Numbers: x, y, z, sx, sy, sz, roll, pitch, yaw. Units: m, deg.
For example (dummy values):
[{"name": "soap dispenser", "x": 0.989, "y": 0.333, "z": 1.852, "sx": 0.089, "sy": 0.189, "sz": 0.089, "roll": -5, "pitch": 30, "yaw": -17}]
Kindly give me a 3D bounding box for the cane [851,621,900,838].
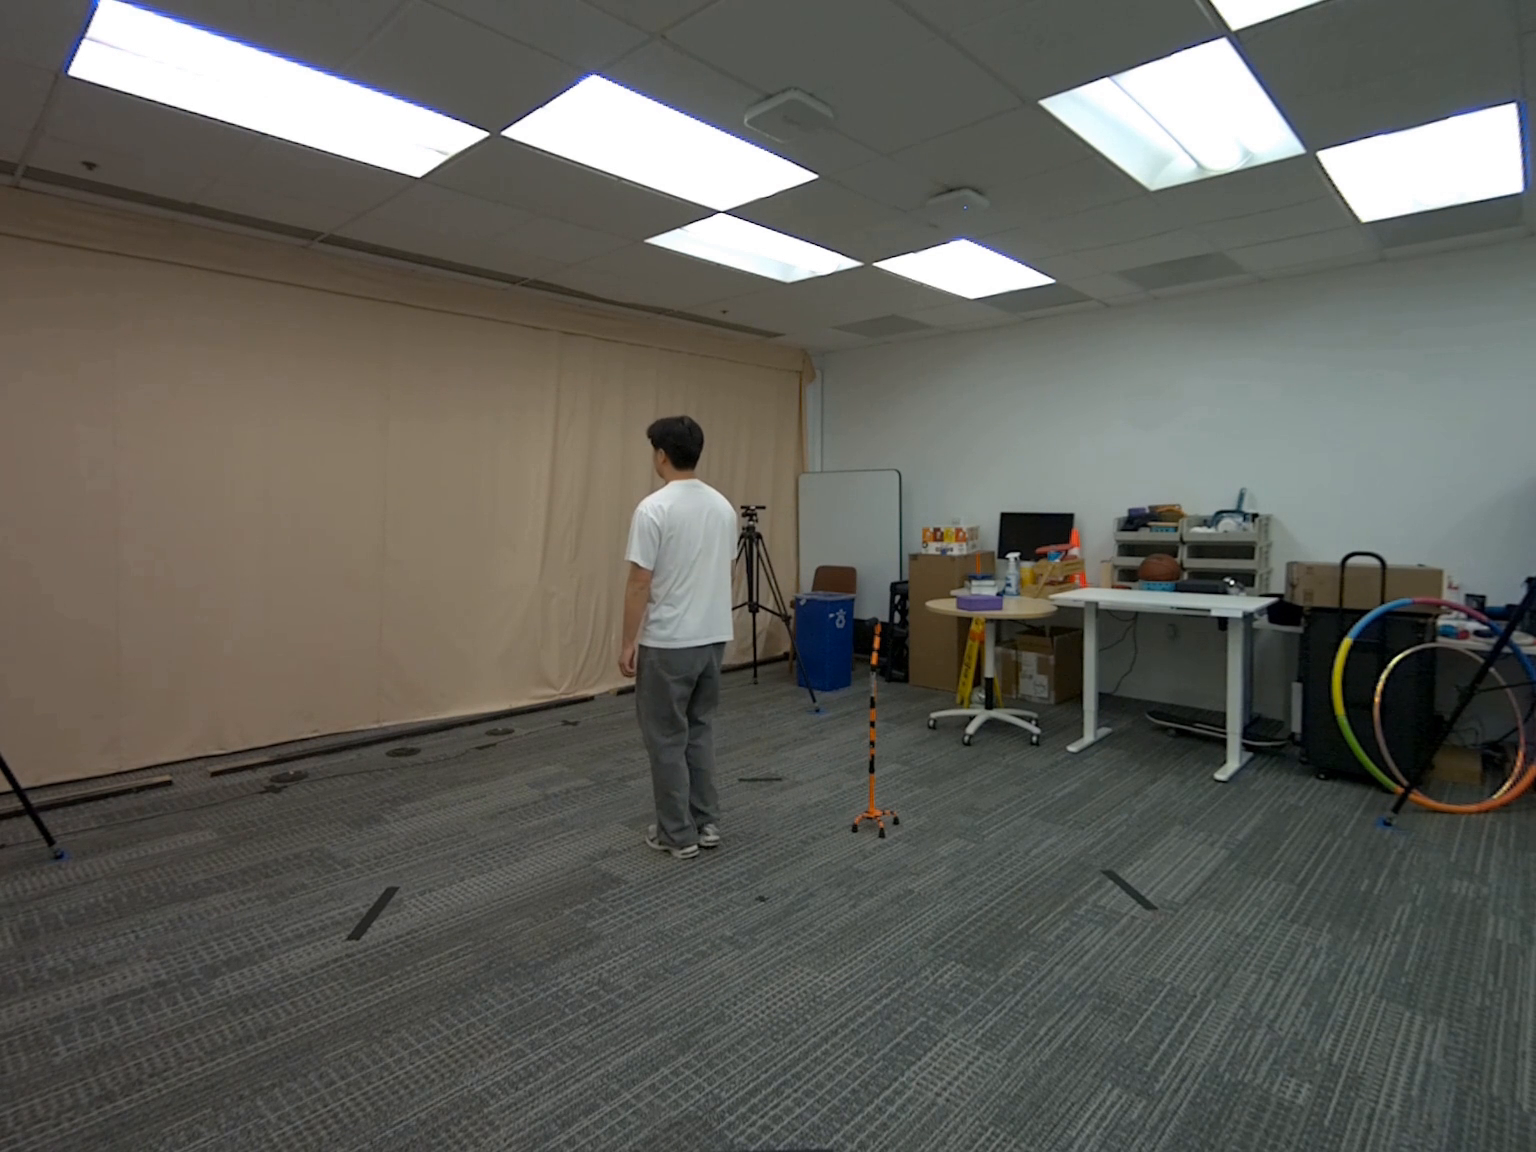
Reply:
[{"name": "cane", "x": 0.480, "y": 0.639, "z": 3.620, "sx": 0.156, "sy": 0.906, "sz": 0.201, "roll": 2, "pitch": 3, "yaw": 29}]
